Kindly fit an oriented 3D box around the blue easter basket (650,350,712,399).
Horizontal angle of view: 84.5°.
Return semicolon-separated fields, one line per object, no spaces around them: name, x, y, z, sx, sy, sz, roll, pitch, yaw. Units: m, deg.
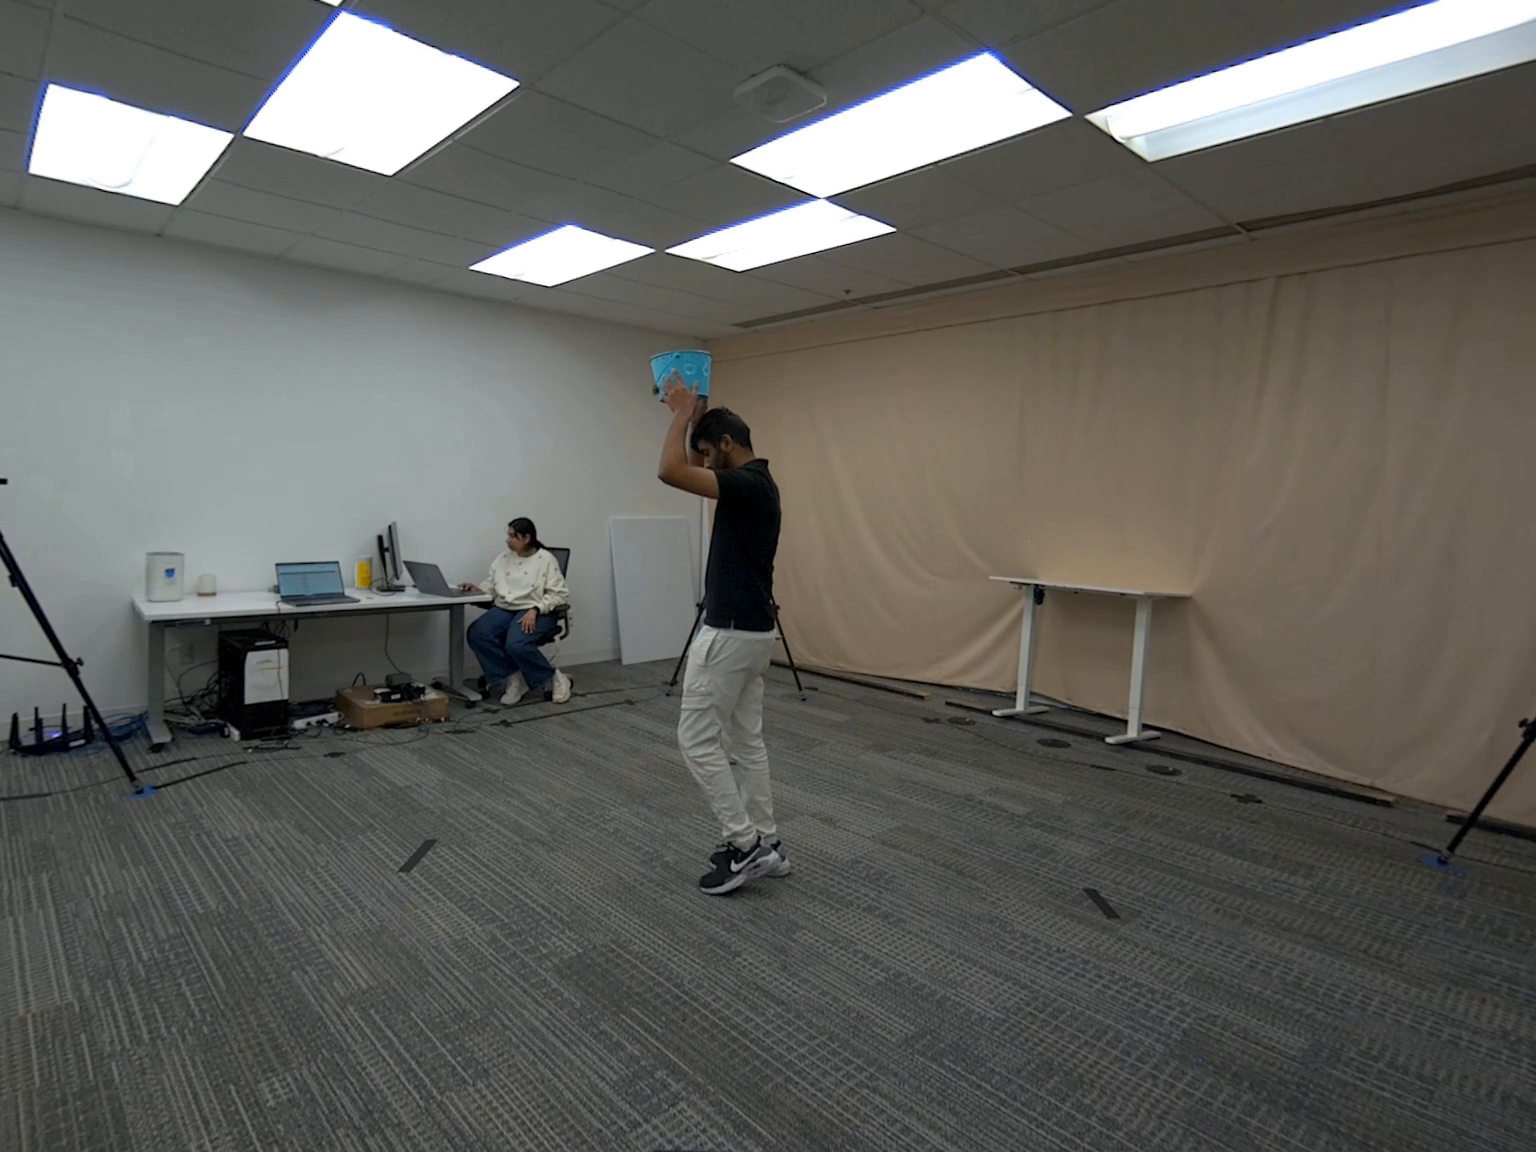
blue easter basket;-0.325;-0.733;3.106;0.243;0.156;0.244;-3;1;-1
